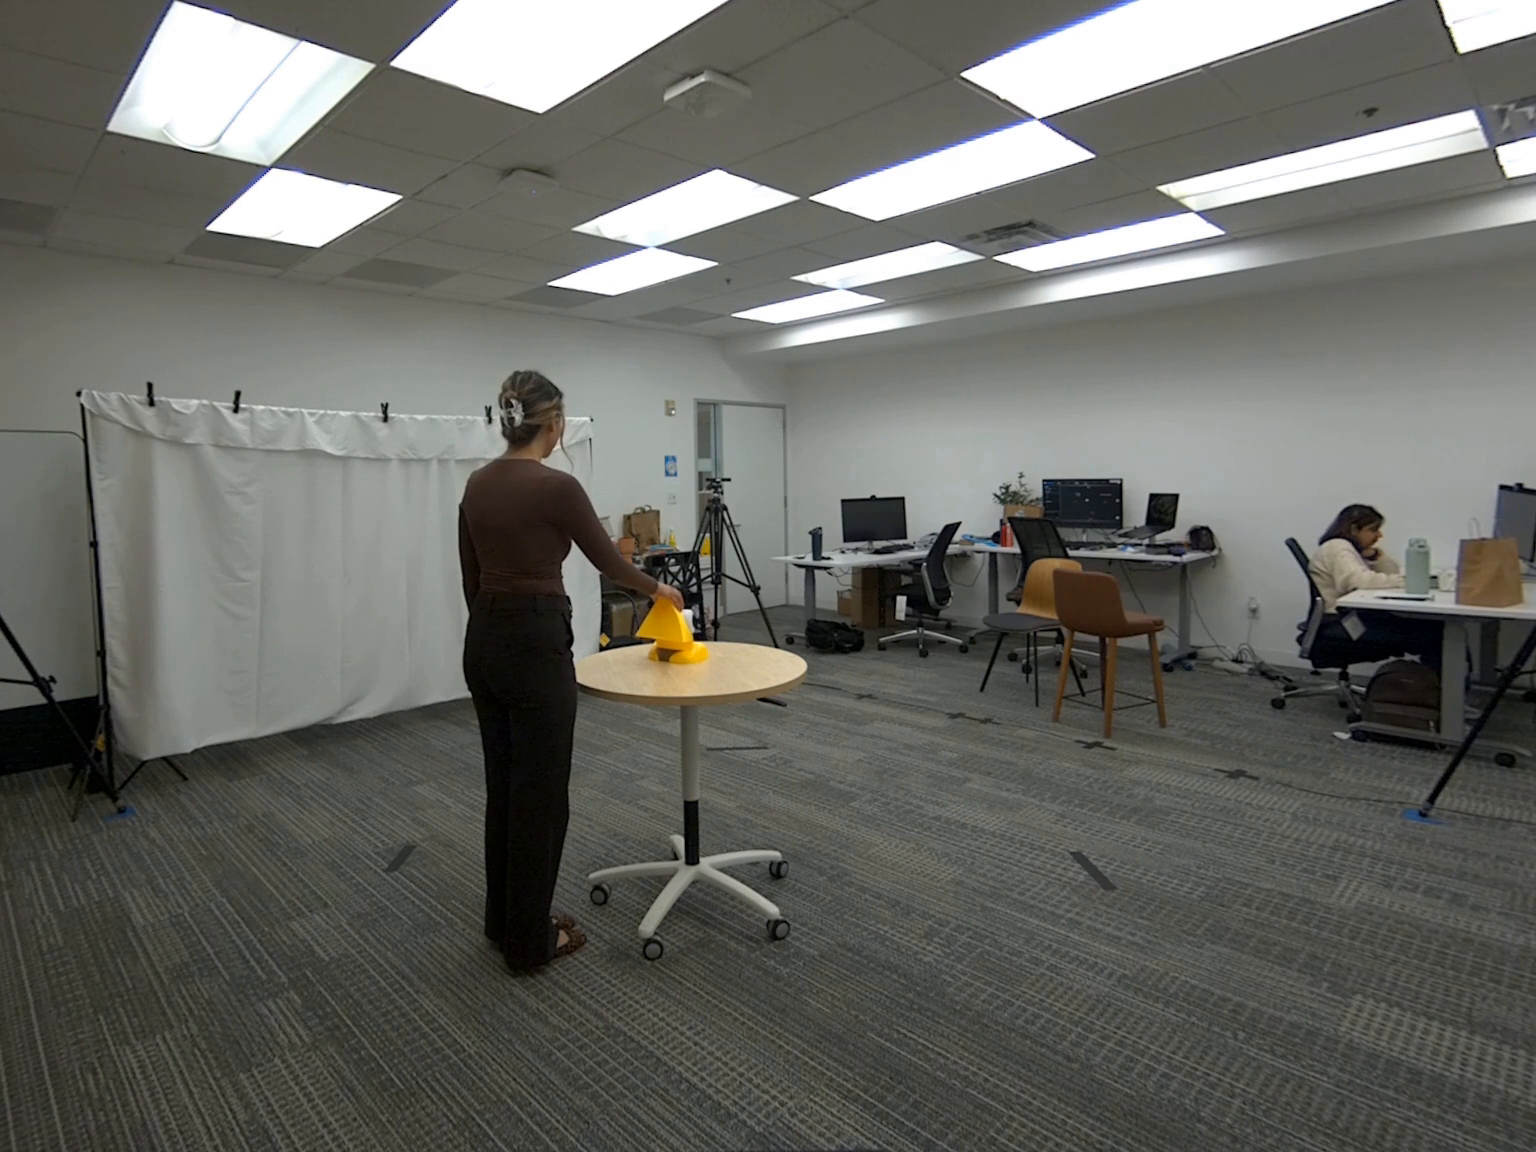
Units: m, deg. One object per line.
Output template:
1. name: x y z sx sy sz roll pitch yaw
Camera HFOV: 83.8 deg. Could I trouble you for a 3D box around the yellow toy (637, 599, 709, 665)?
1. yellow toy: -0.307 0.162 2.866 0.210 0.230 0.188 3 6 34
